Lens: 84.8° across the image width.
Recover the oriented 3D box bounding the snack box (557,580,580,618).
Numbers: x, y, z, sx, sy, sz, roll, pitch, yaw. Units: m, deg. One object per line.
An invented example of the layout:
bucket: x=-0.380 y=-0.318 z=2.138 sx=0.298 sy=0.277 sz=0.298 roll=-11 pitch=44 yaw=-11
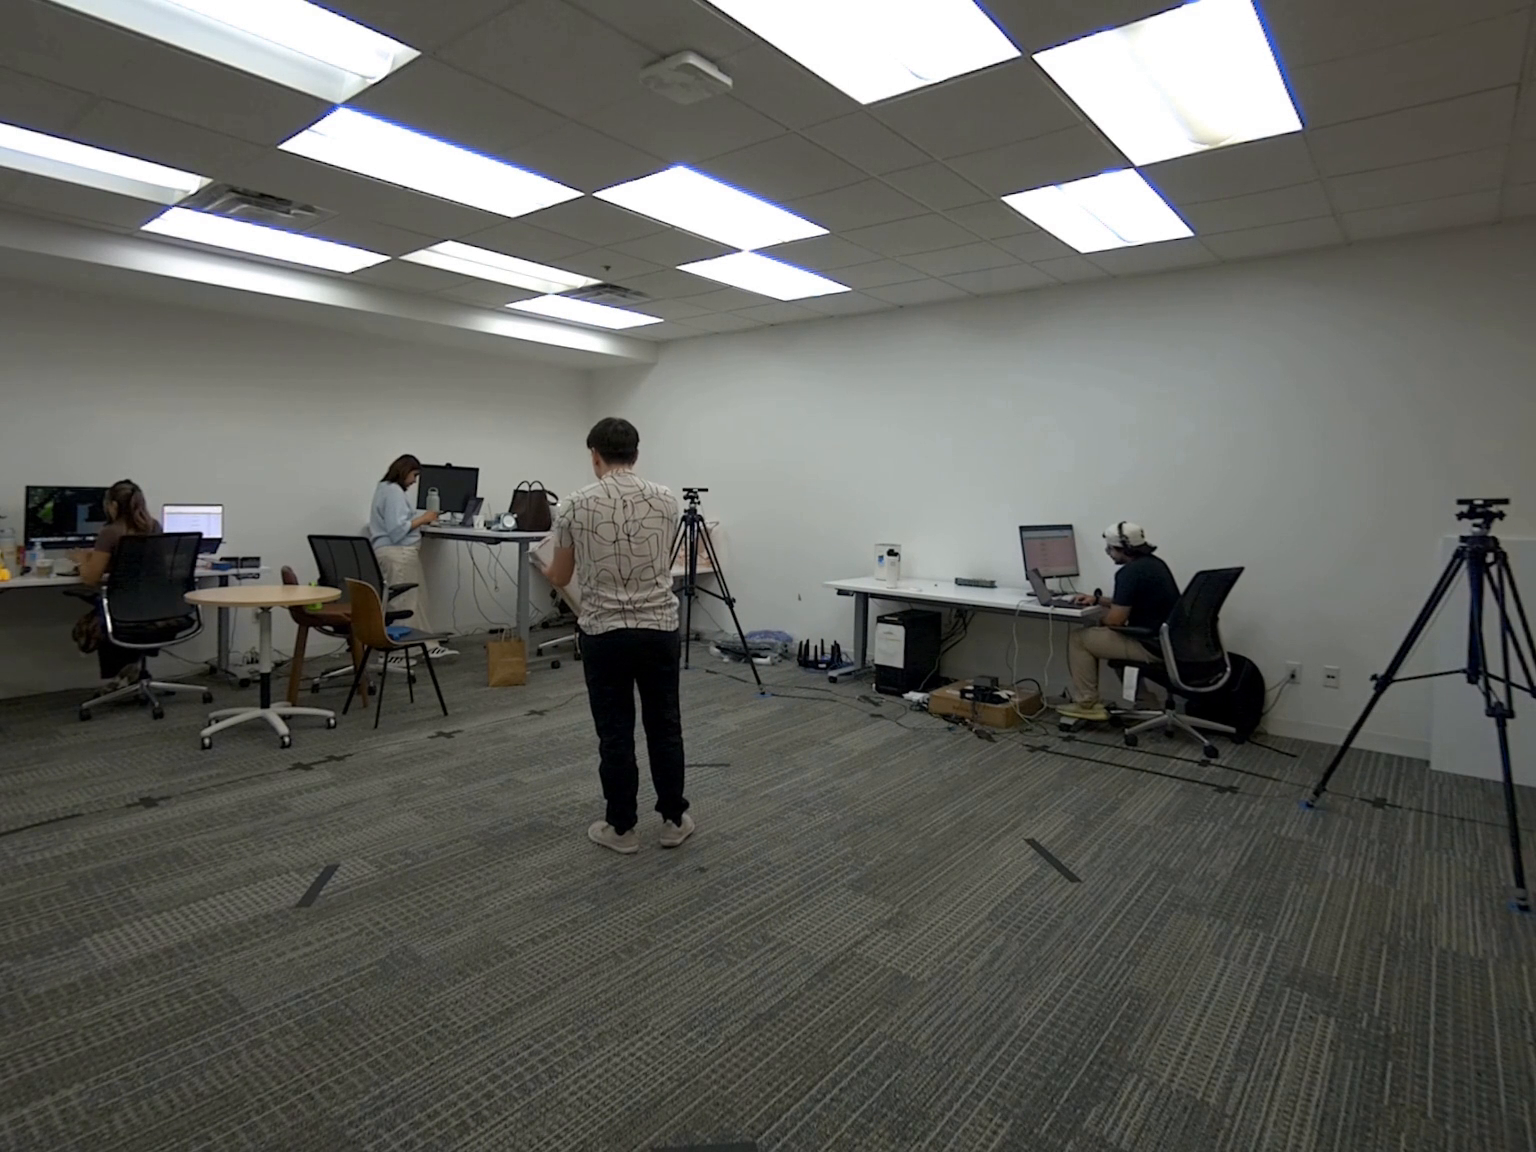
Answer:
snack box: x=-0.795 y=-0.055 z=3.733 sx=0.339 sy=0.398 sz=0.210 roll=-41 pitch=13 yaw=-18
